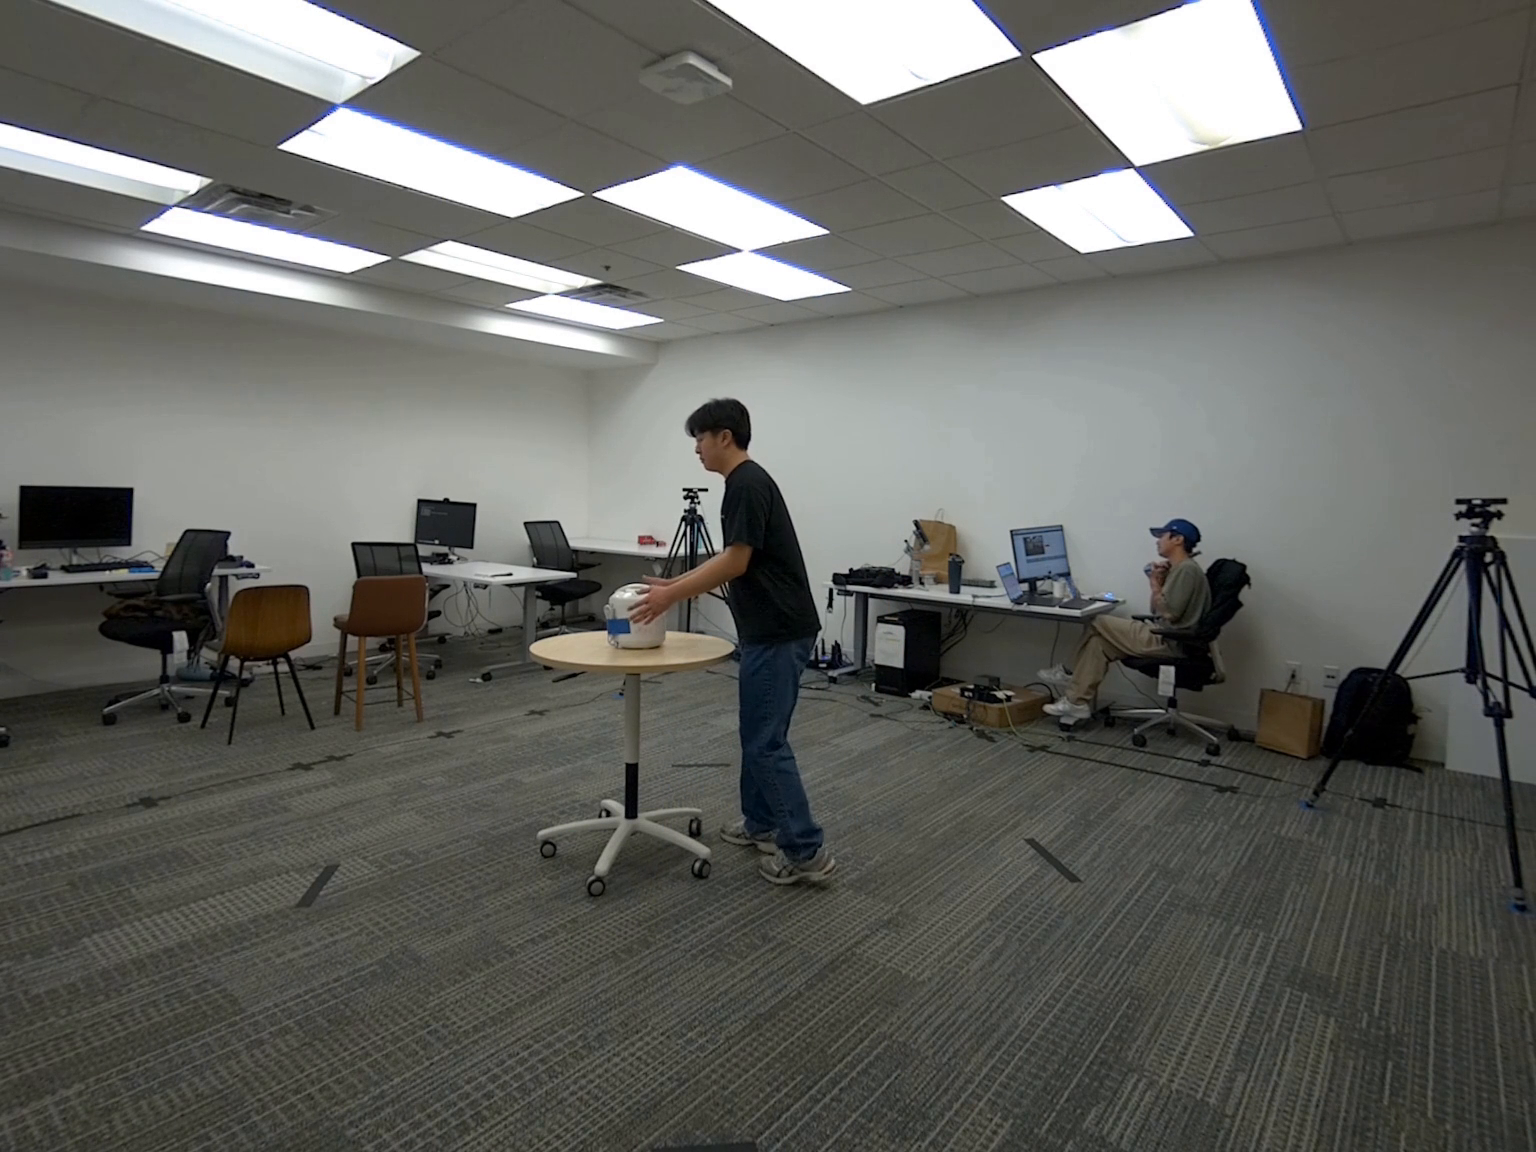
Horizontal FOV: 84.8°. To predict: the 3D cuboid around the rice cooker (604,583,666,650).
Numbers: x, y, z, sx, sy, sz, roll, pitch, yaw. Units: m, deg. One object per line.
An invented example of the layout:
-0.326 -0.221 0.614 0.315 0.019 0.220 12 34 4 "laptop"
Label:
-0.501 0.145 3.209 0.223 0.232 0.216 2 4 8 "rice cooker"
